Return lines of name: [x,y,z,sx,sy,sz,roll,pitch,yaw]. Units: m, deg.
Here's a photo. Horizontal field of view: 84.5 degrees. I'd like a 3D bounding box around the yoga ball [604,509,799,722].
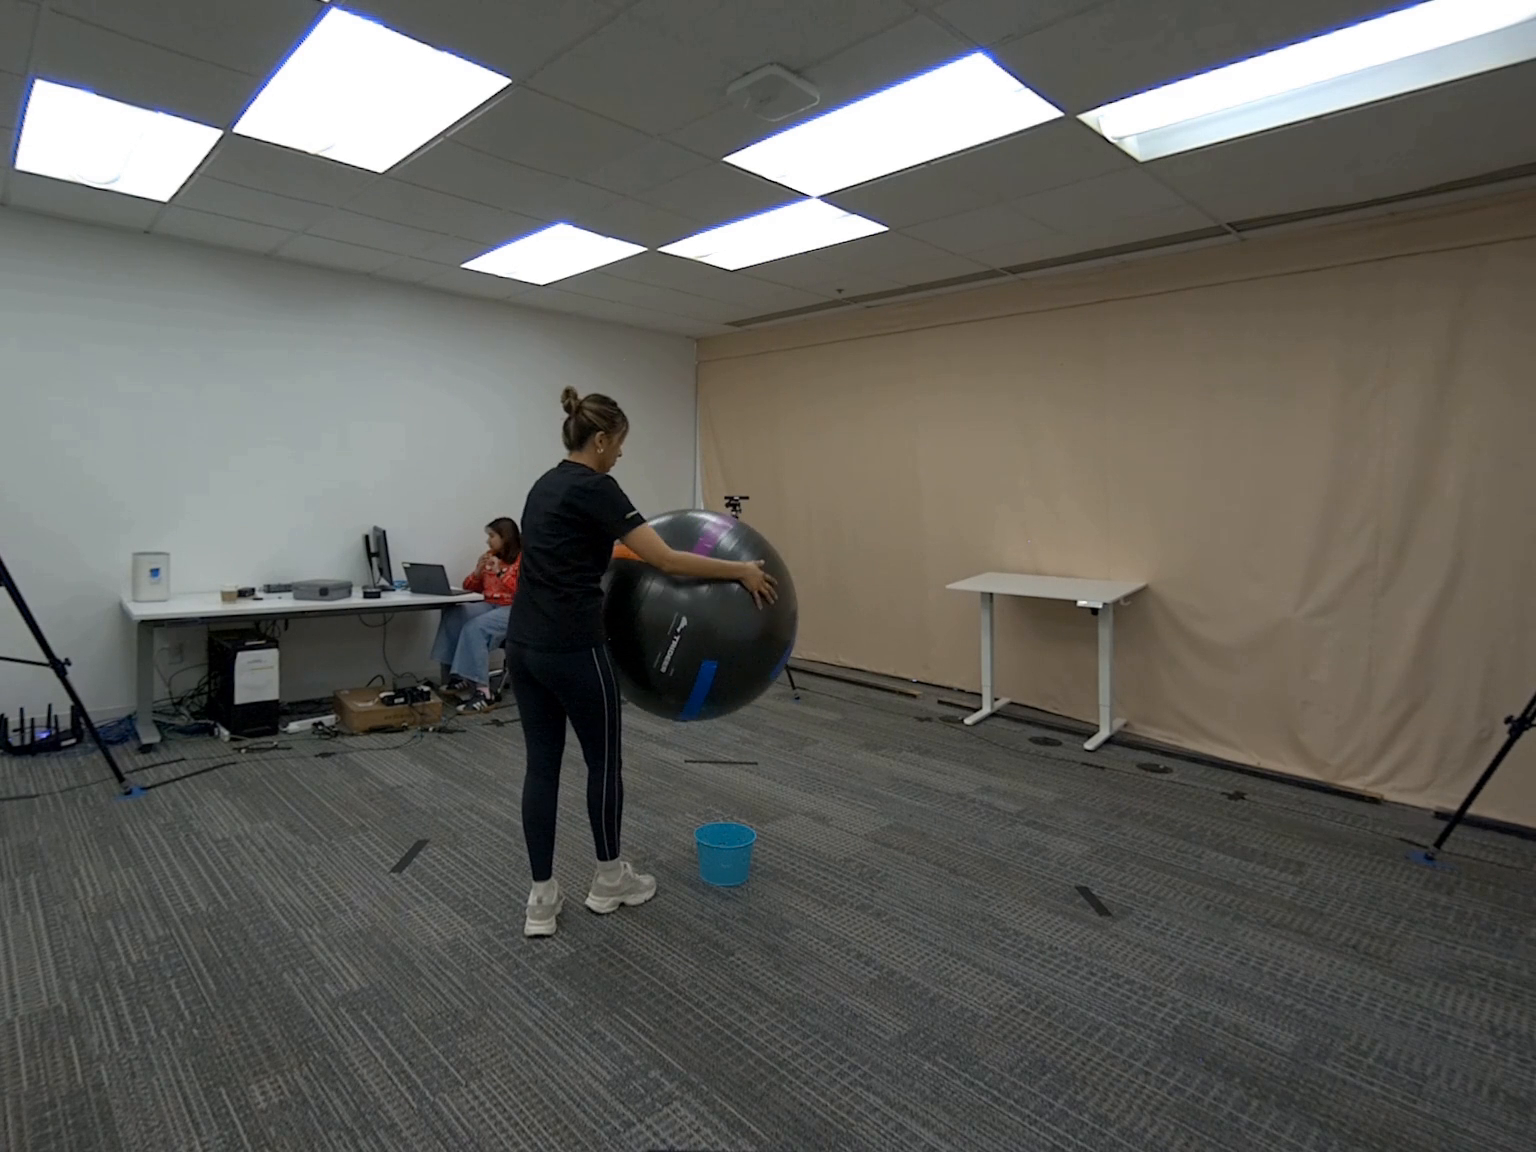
yoga ball: [-0.280,0.141,3.029,0.757,0.756,0.761,1,4,-1]
